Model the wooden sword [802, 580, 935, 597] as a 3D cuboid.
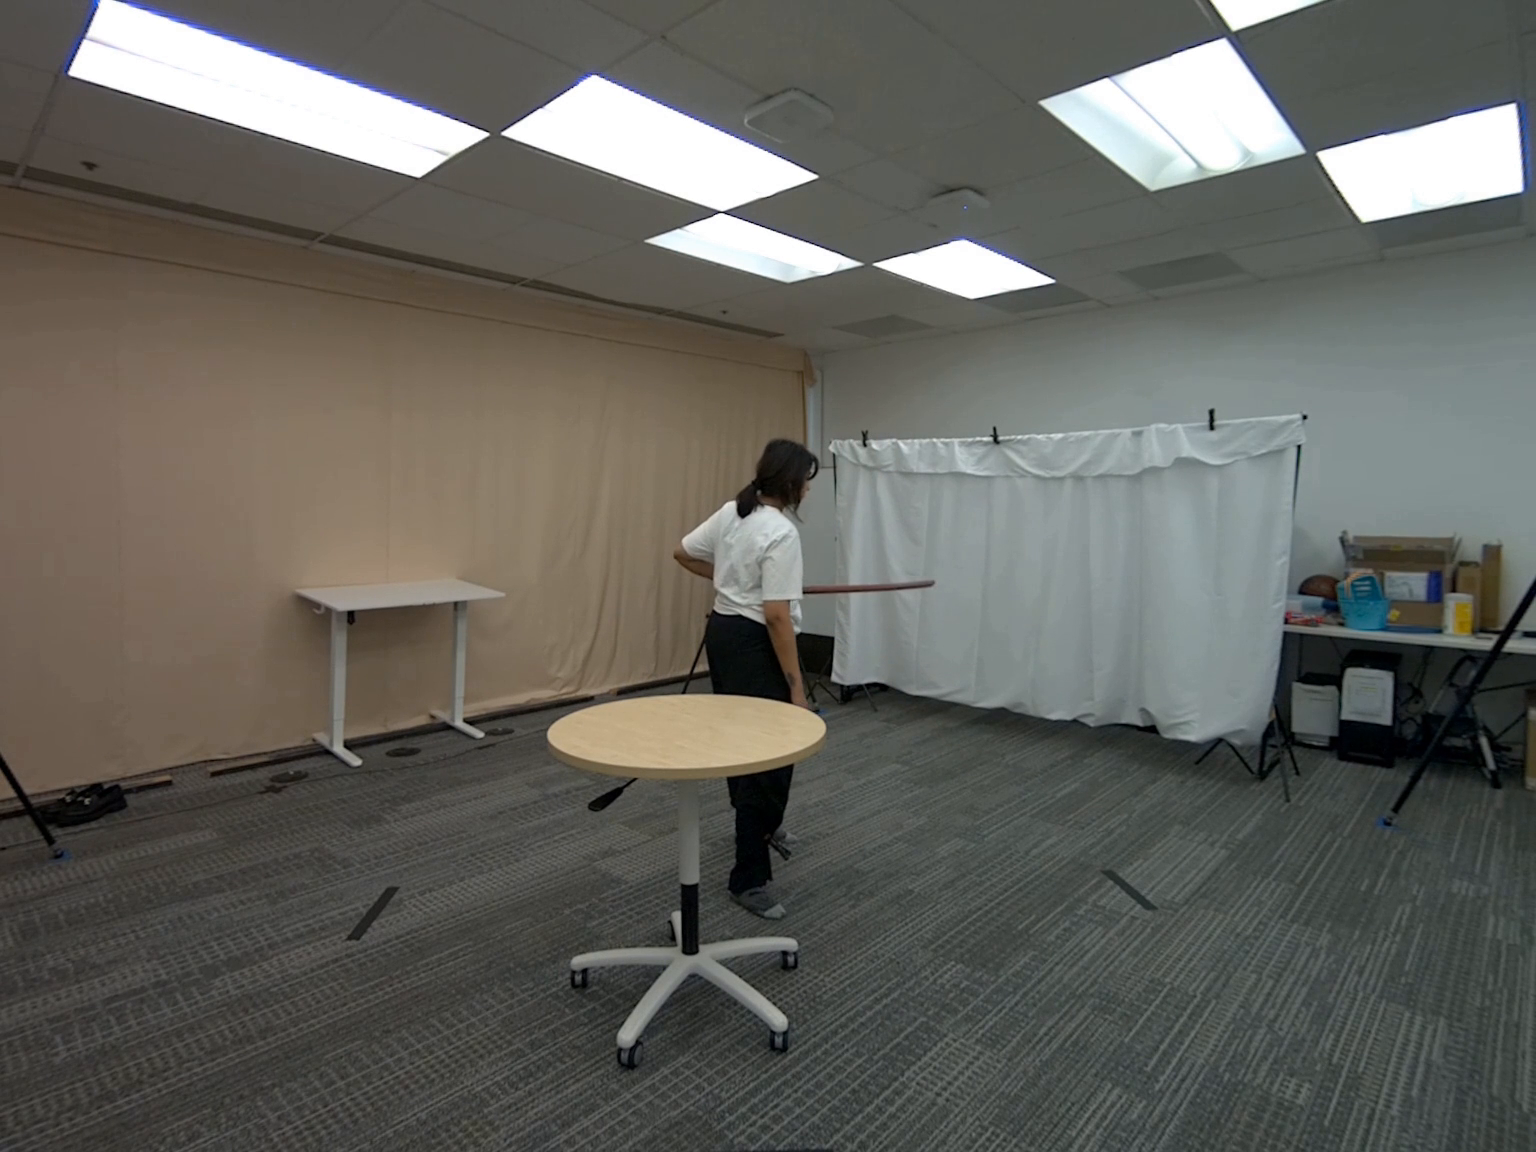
[{"bbox_3d":[0.322,0.064,3.640,1.005,0.024,0.051,-2,-26,-19],"label":"wooden sword"}]
